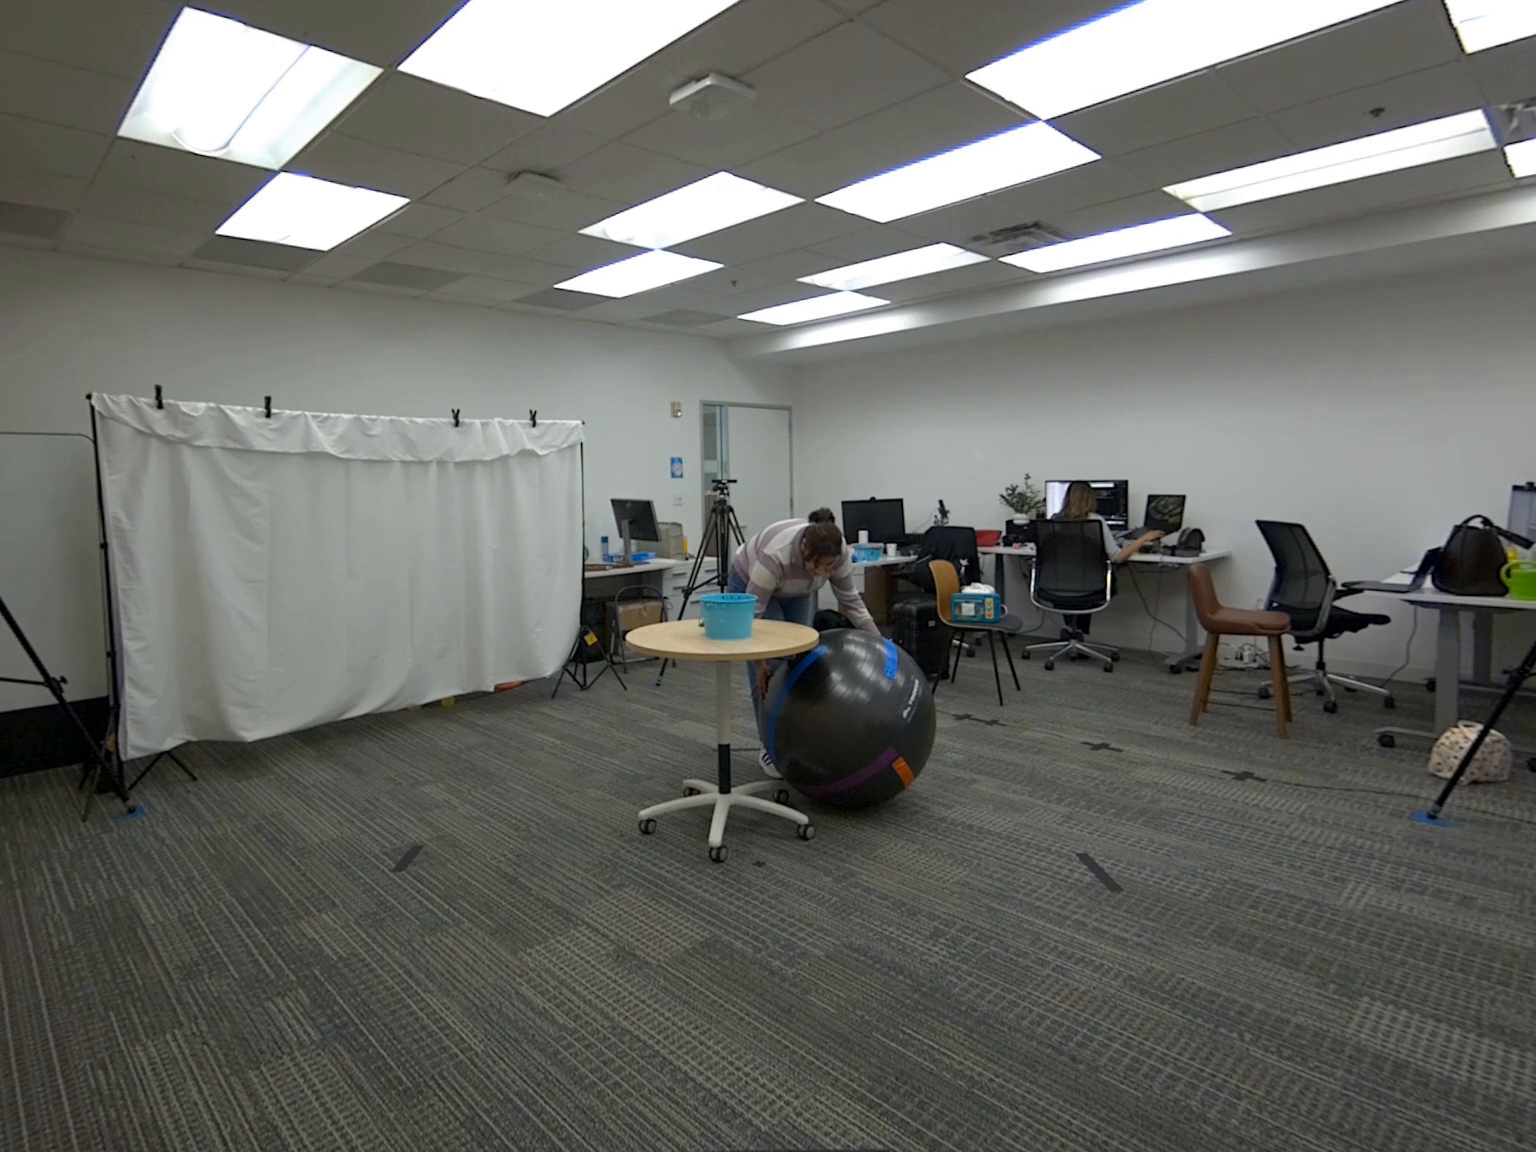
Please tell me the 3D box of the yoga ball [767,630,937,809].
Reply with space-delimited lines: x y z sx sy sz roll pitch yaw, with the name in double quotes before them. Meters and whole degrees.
"yoga ball" 0.350 0.608 3.686 0.757 0.755 0.762 -1 5 -2
